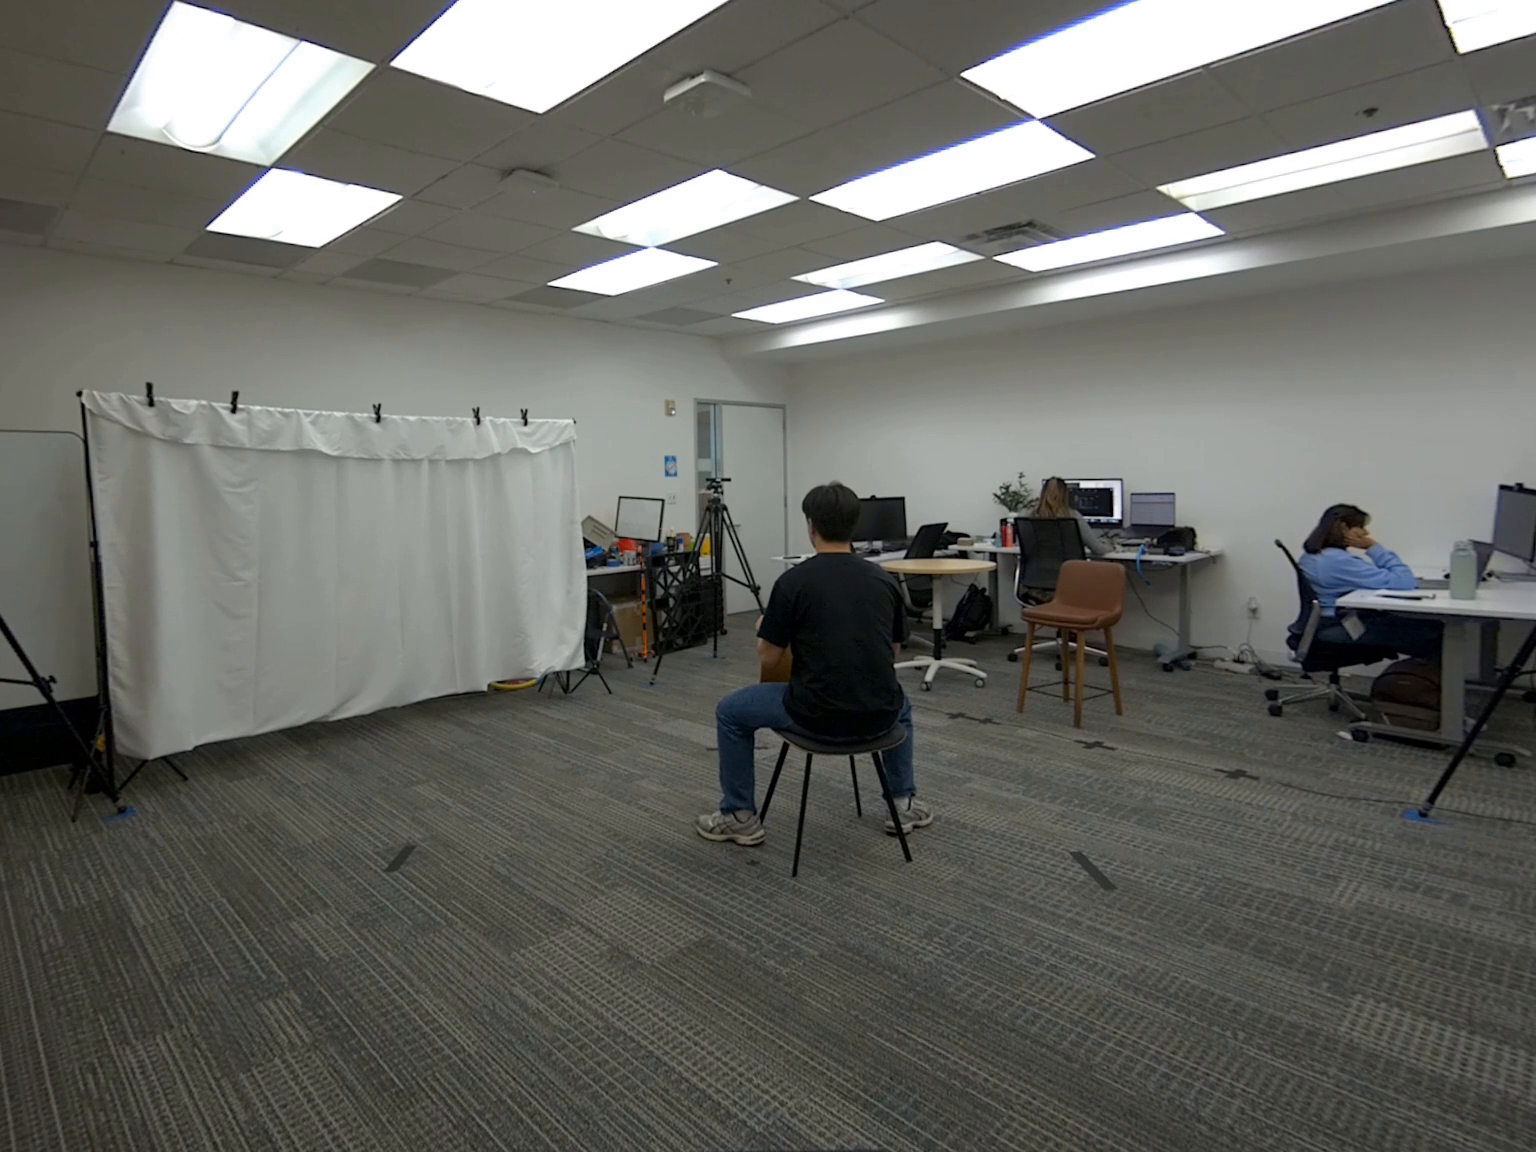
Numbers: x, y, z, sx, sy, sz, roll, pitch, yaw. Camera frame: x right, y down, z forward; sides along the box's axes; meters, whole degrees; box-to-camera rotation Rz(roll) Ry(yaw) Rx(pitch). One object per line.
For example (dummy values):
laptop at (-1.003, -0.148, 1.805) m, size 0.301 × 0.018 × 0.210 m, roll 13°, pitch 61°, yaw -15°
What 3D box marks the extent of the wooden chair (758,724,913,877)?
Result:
wooden chair at (0.234, 0.598, 3.218) m, size 0.471 × 0.877 × 0.531 m, roll -2°, pitch 1°, yaw -16°
